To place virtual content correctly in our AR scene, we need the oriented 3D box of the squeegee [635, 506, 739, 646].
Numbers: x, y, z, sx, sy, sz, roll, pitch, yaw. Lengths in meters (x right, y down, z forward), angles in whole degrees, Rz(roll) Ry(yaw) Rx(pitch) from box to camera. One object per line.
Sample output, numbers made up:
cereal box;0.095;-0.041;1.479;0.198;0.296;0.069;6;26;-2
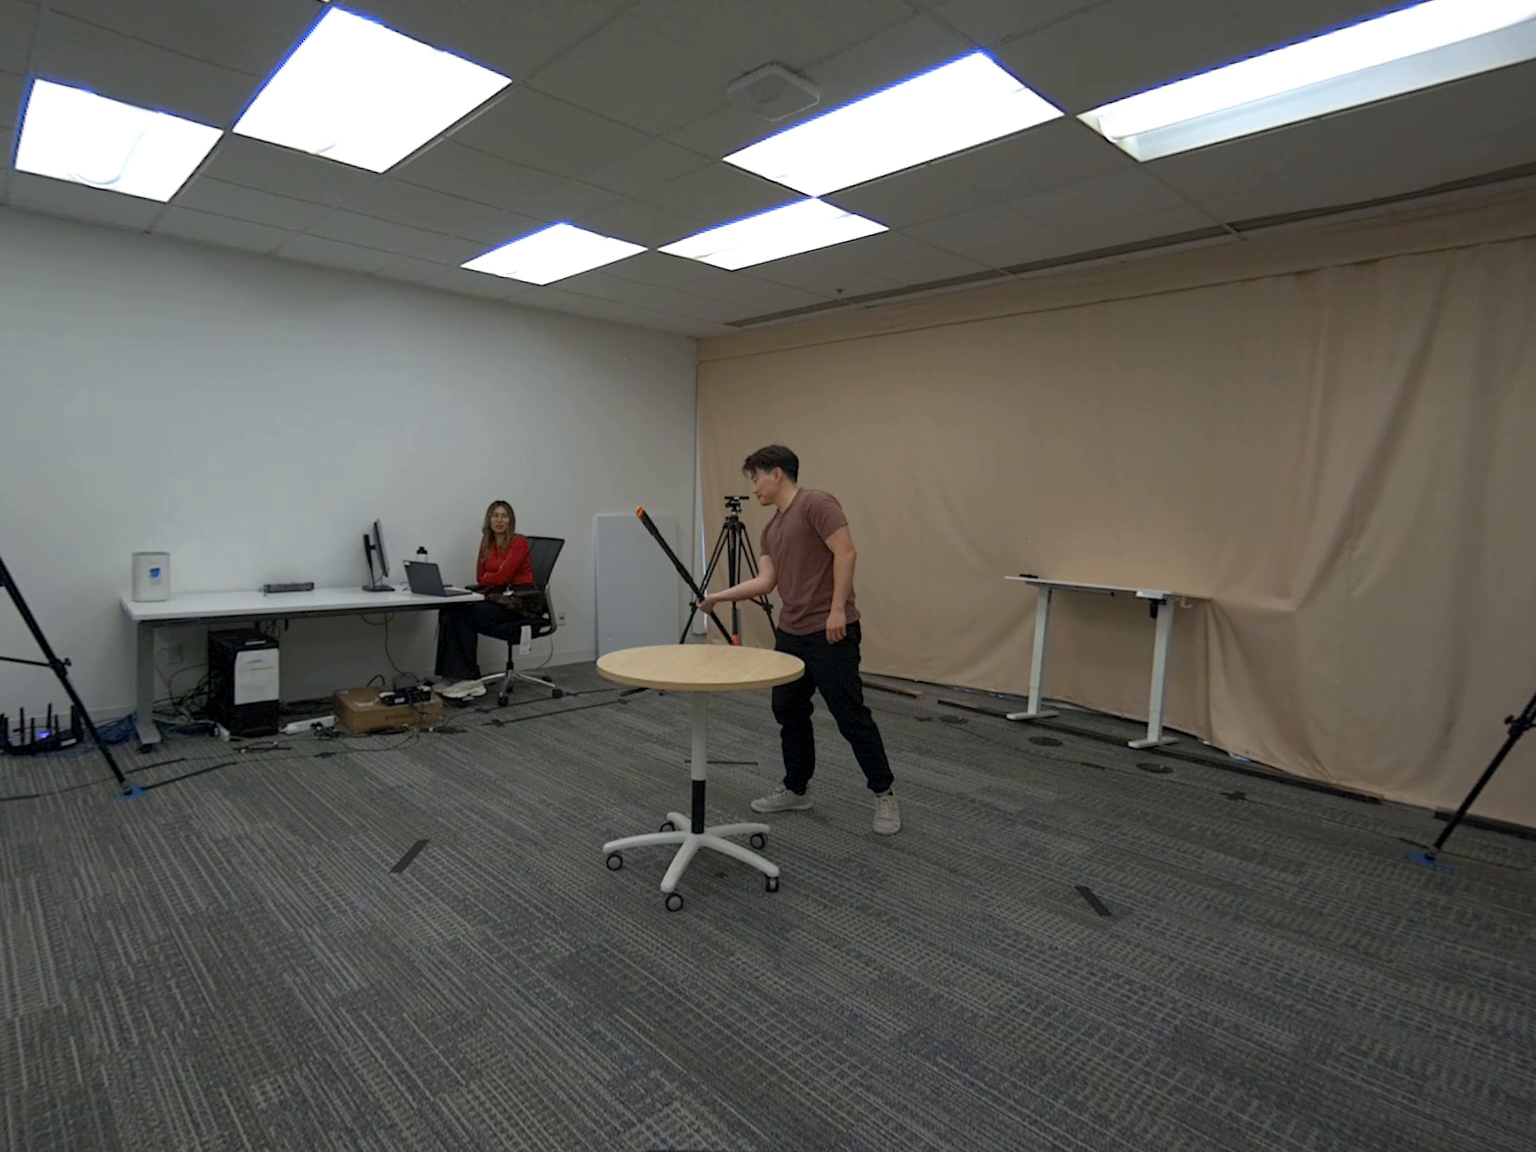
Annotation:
squeegee;-0.312;0.080;3.703;0.053;0.445;1.497;-8;-27;10
